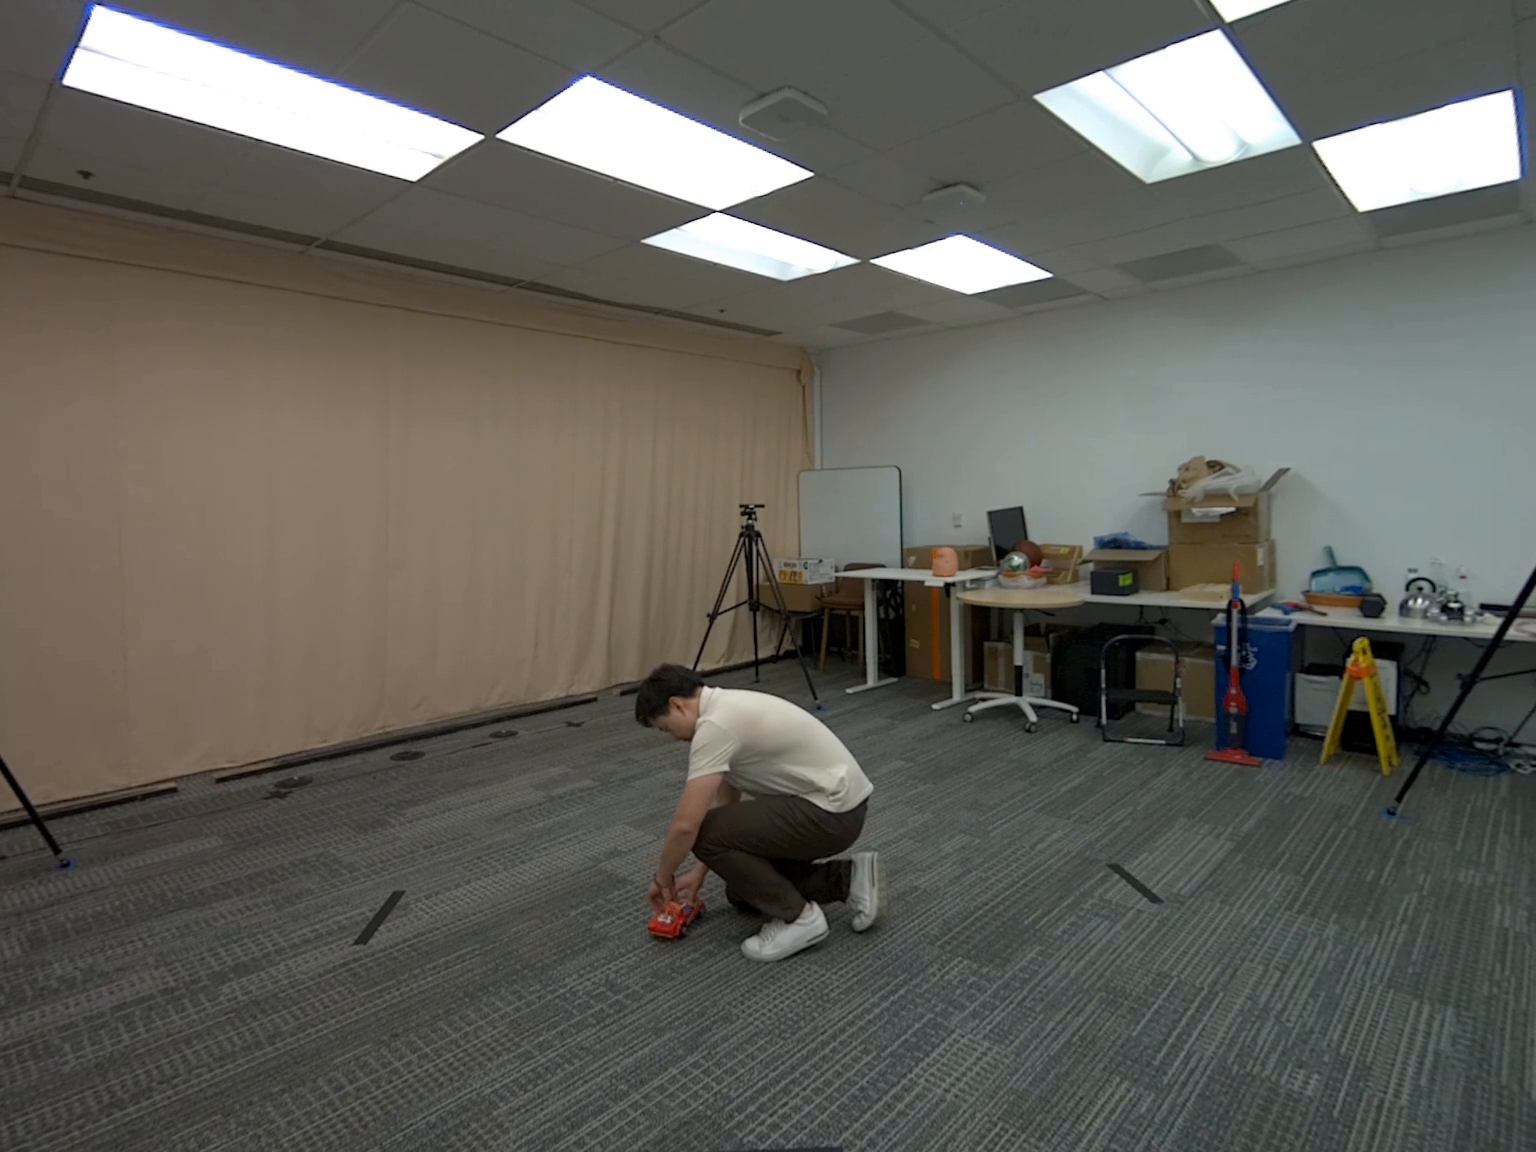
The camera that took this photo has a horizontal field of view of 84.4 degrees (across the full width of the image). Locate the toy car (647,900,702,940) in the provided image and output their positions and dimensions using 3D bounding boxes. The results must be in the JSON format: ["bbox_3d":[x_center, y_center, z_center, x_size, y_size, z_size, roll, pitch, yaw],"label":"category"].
[{"bbox_3d":[-0.303,1.133,2.782,0.133,0.083,0.247,0,-7,22],"label":"toy car"}]
